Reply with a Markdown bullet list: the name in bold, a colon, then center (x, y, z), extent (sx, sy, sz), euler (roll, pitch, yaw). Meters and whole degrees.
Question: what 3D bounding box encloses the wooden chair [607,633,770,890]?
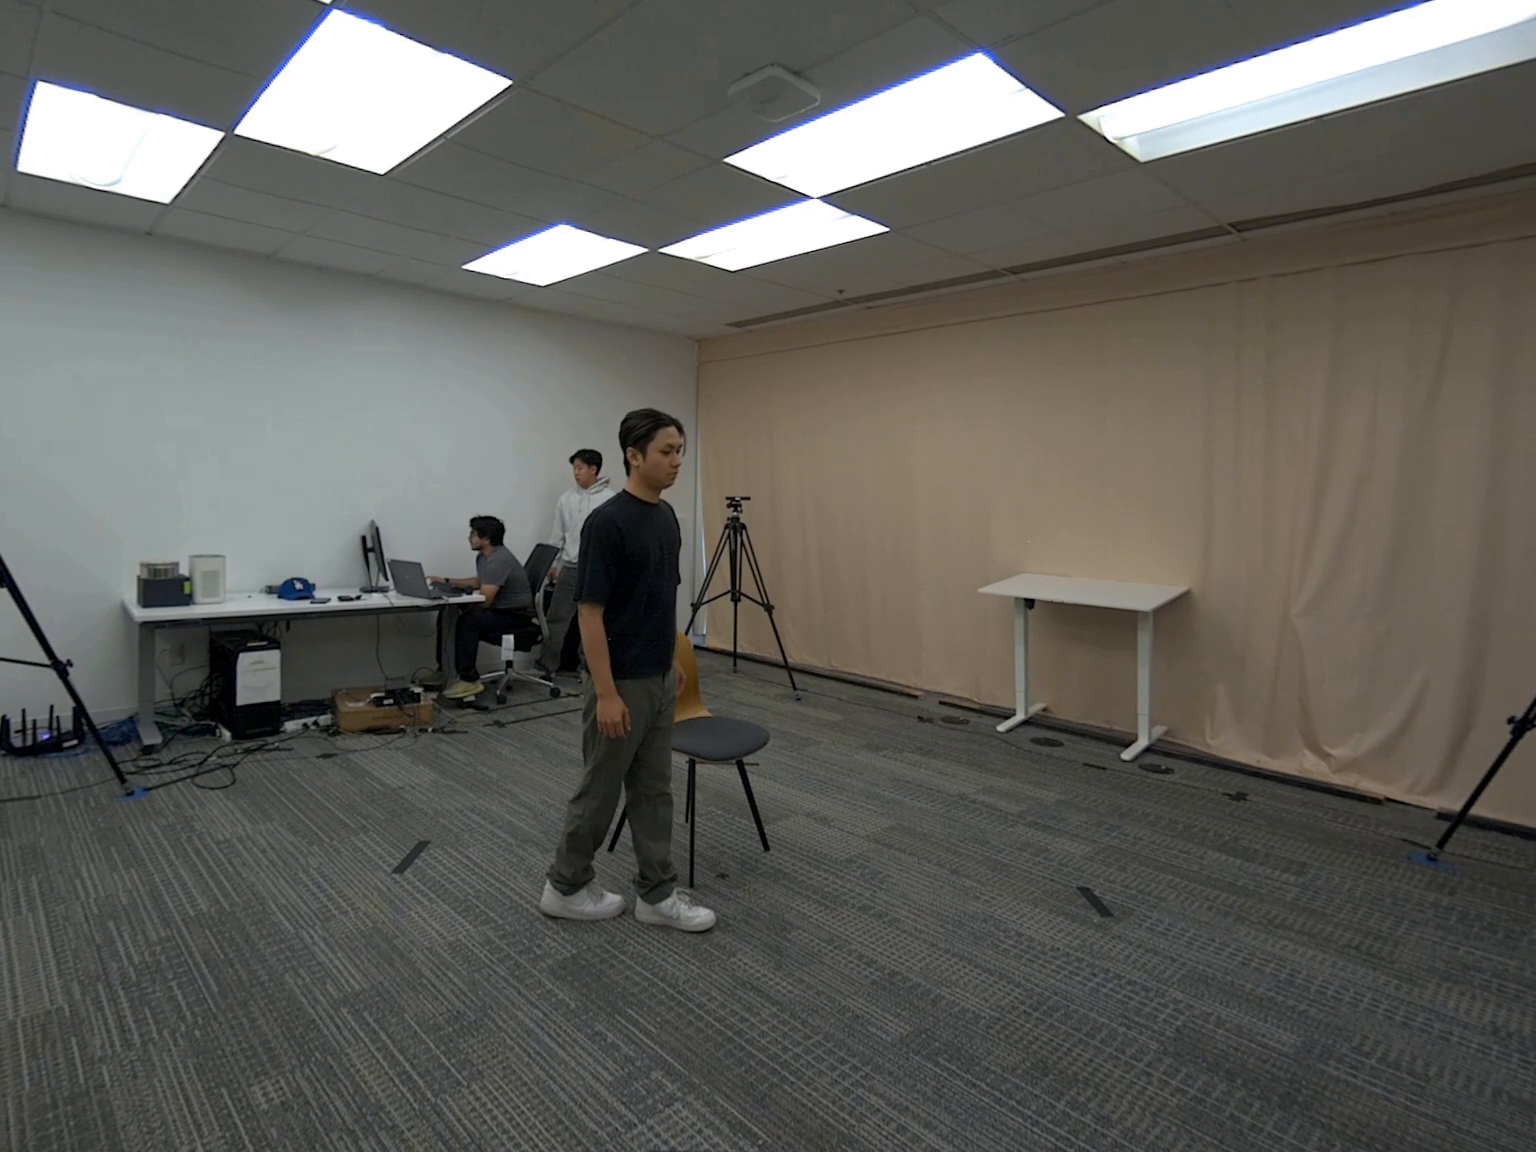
- **wooden chair**: center (-0.294, 0.658, 3.281), extent (0.535, 0.877, 0.467), euler (-1, 0, 40)
